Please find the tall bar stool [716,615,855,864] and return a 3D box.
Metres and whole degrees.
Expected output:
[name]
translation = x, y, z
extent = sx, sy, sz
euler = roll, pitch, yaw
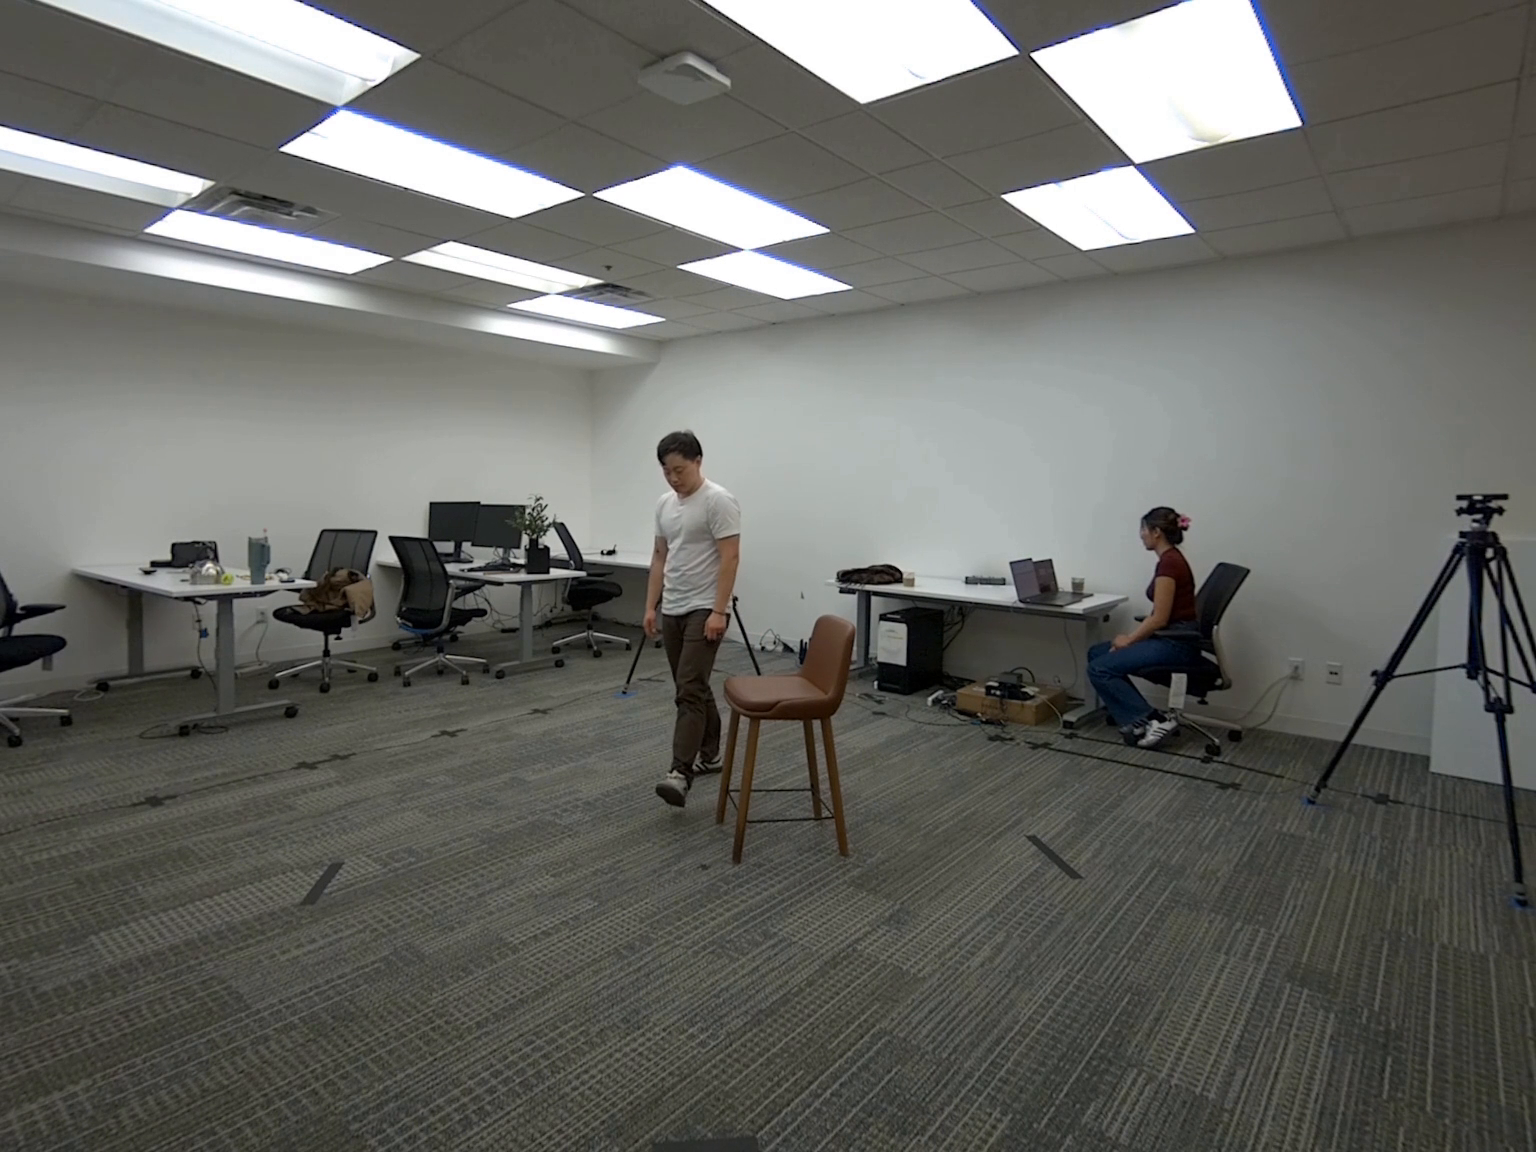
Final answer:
[tall bar stool]
translation = 0.055, 0.610, 3.361
extent = 0.462, 0.887, 0.463
euler = 2, 3, -12
